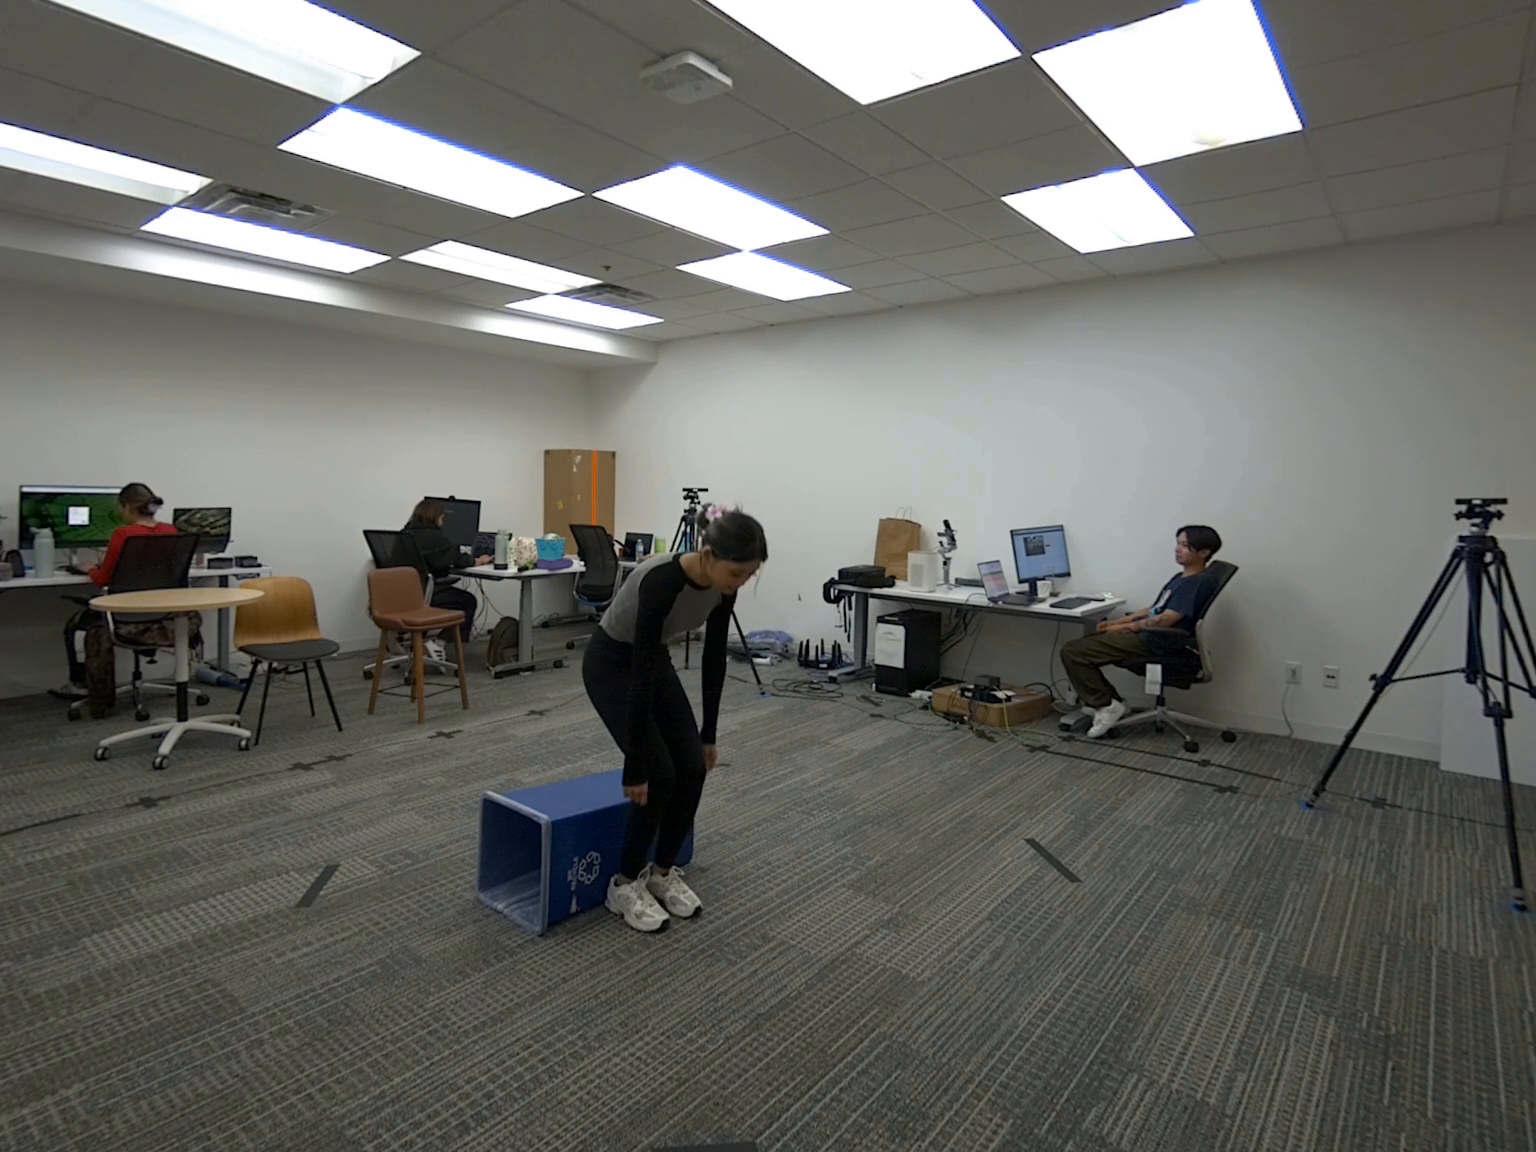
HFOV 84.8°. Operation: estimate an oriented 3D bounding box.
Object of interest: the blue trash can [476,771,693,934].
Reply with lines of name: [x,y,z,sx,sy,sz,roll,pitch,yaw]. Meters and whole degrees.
blue trash can: [-0.629,0.902,3.000,0.390,0.373,0.691,3,3,39]
